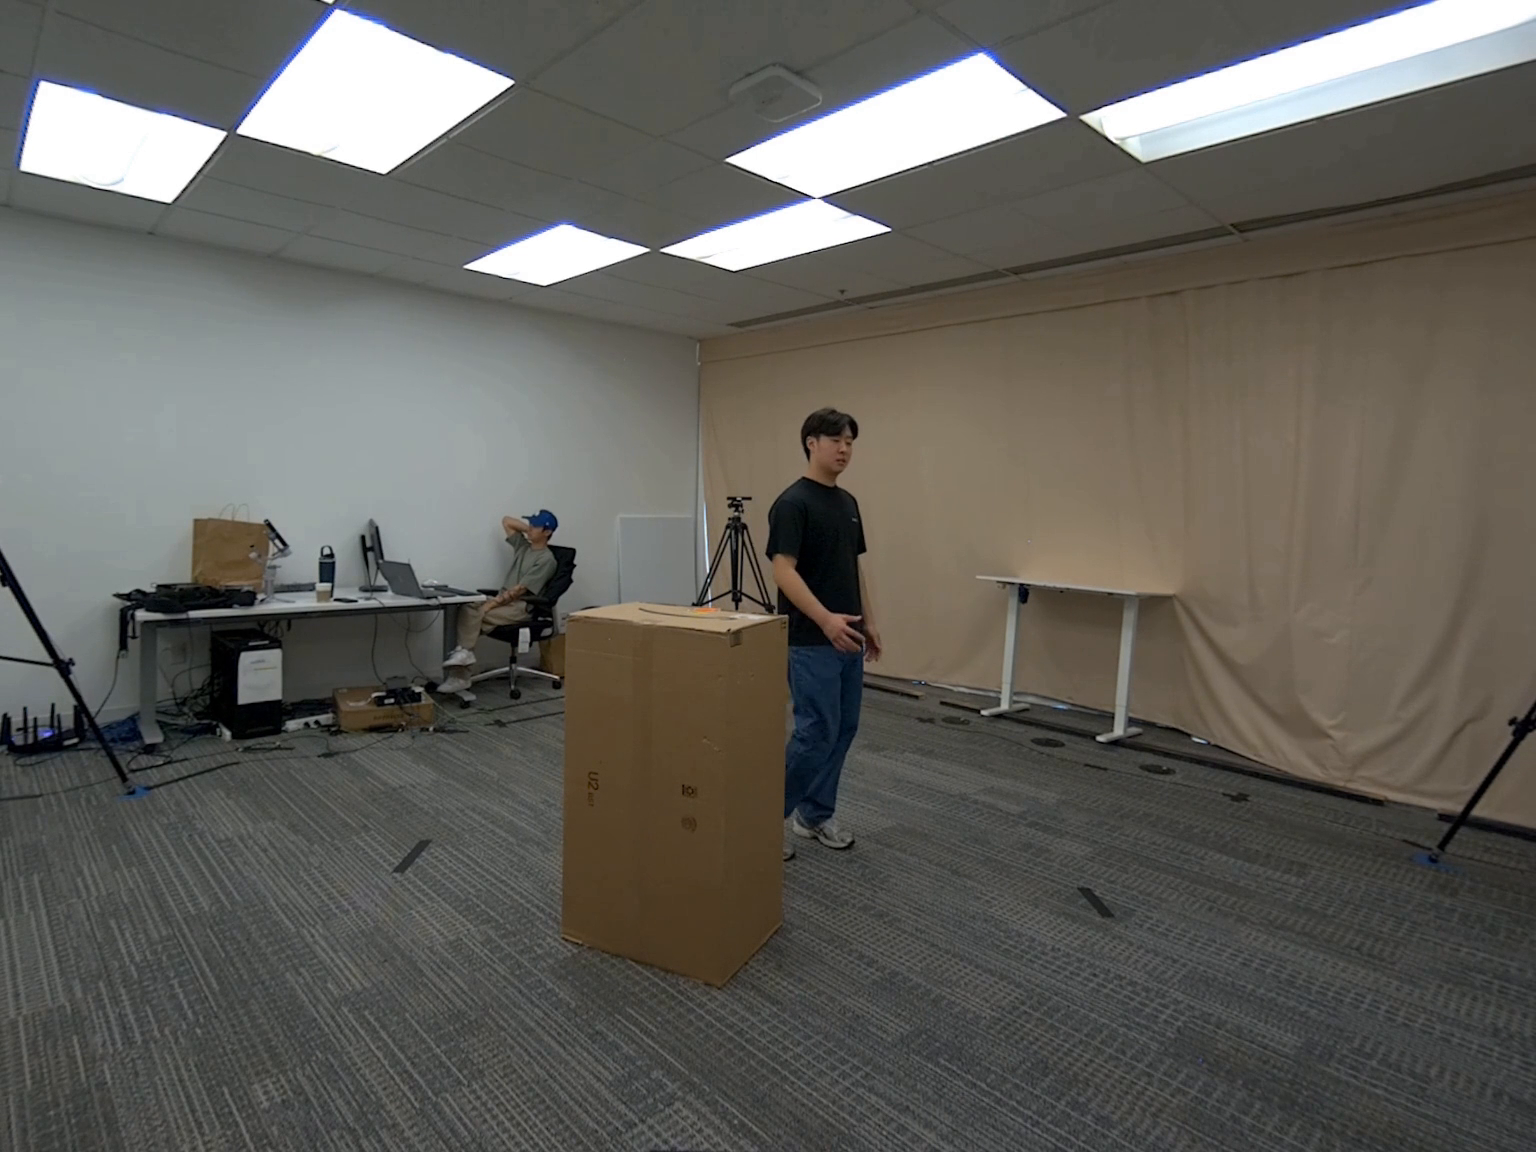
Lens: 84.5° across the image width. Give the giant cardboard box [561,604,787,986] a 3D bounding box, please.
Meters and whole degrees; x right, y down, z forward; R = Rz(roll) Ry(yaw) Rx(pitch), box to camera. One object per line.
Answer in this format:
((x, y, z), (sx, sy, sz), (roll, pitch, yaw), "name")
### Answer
((-0.295, 0.631, 2.677), (0.596, 1.025, 0.438), (3, 2, 28), "giant cardboard box")
